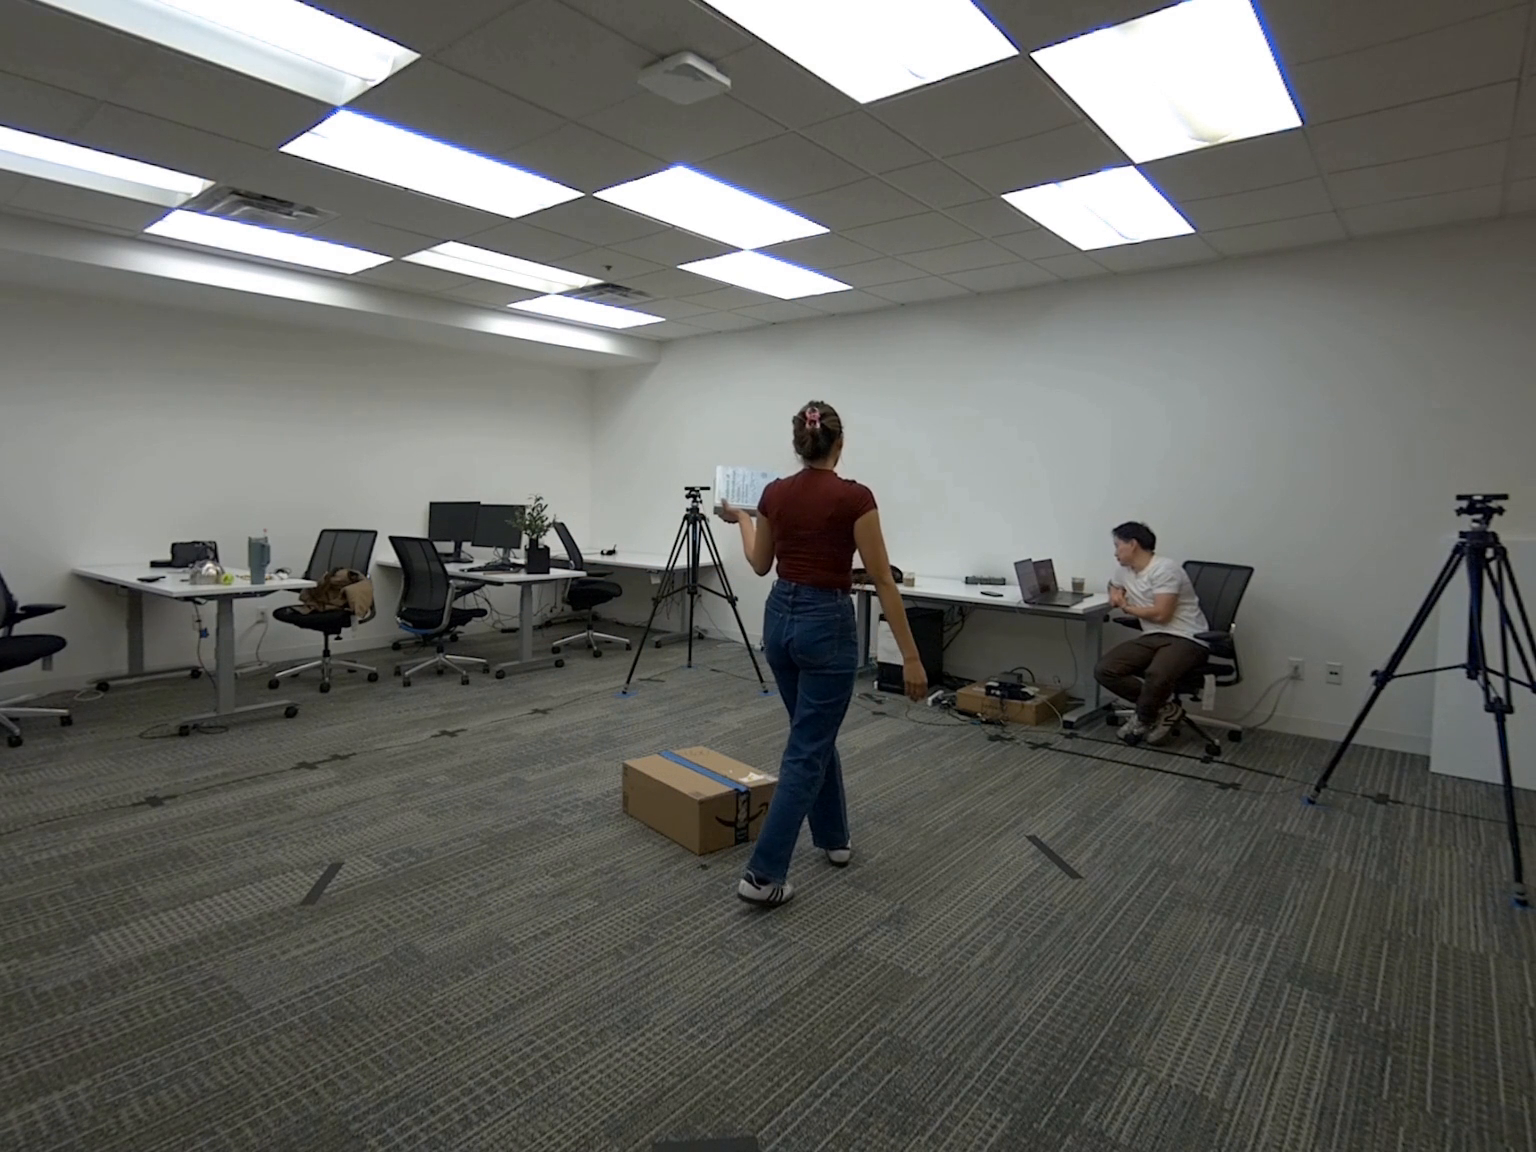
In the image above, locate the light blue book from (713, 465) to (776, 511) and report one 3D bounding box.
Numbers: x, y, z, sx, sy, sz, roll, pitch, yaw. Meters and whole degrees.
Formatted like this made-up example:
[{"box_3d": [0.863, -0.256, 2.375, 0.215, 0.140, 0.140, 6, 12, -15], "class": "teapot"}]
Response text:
[{"box_3d": [-0.096, -0.340, 3.377, 0.259, 0.195, 0.058, 5, -27, -5], "class": "light blue book"}]
